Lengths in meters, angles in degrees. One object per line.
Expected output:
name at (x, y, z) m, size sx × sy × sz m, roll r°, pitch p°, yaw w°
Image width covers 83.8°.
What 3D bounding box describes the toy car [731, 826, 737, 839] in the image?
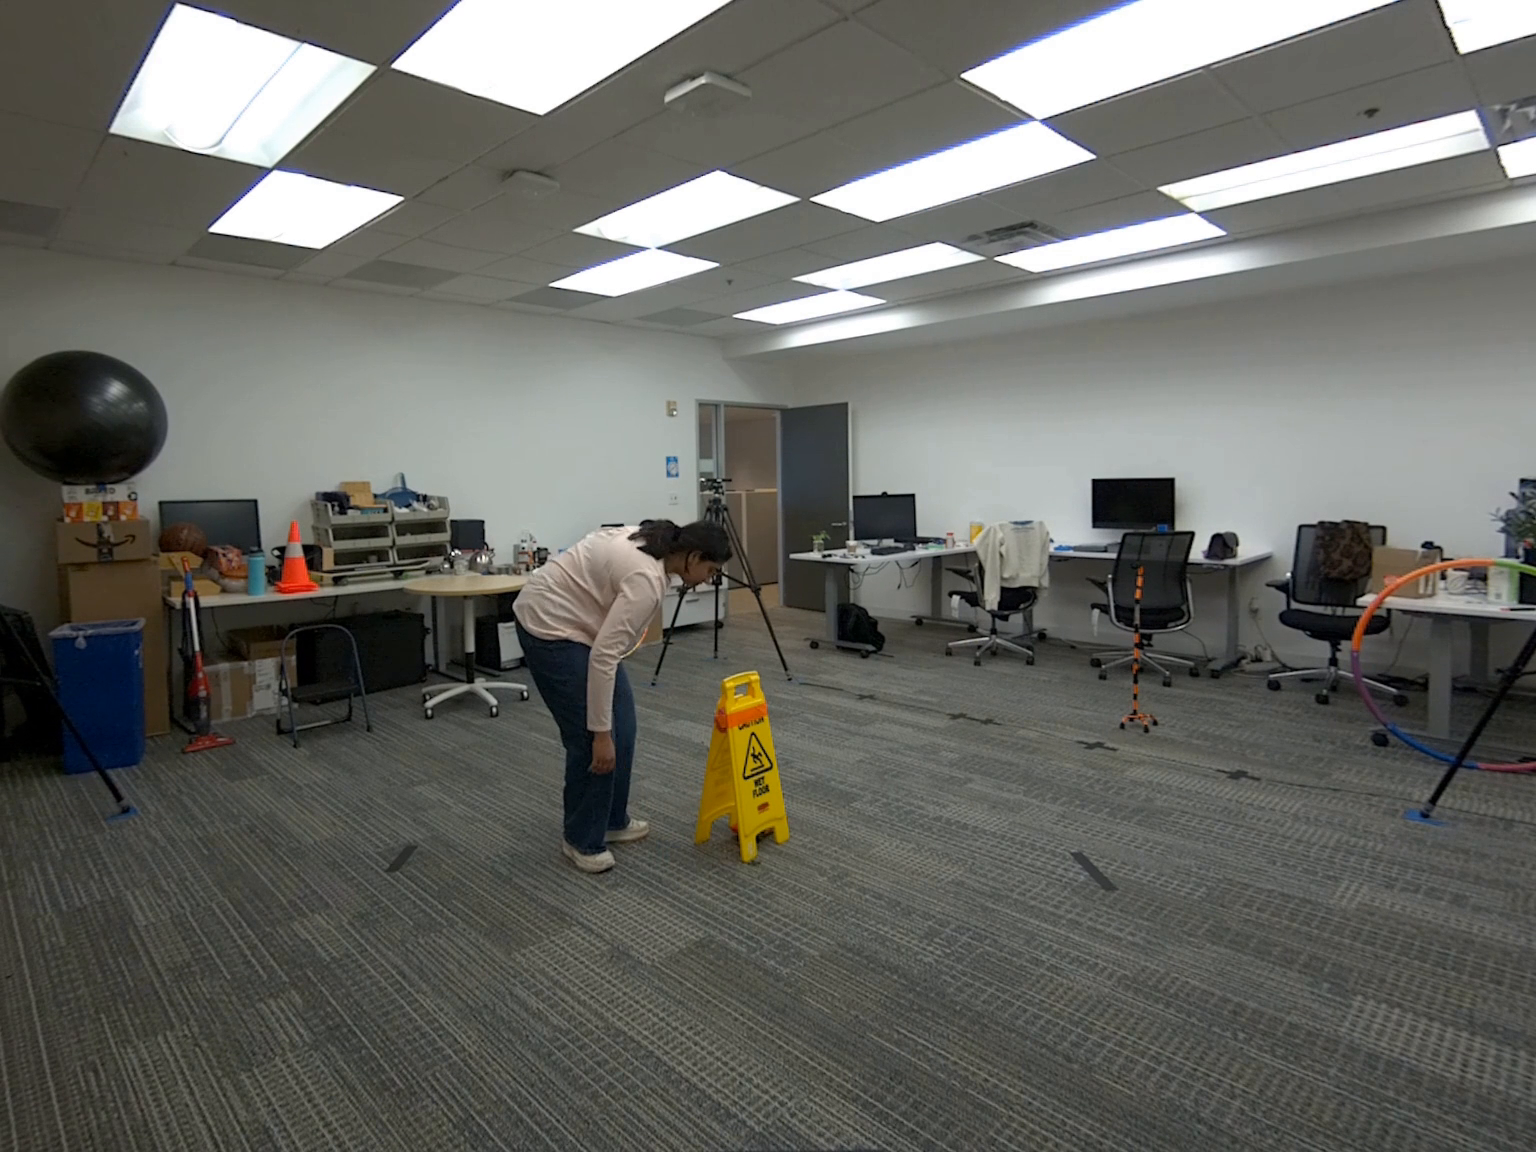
toy car at (-0.035, 0.981, 3.359) m, size 0.246 × 0.083 × 0.134 m, roll 6°, pitch 1°, yaw -44°
